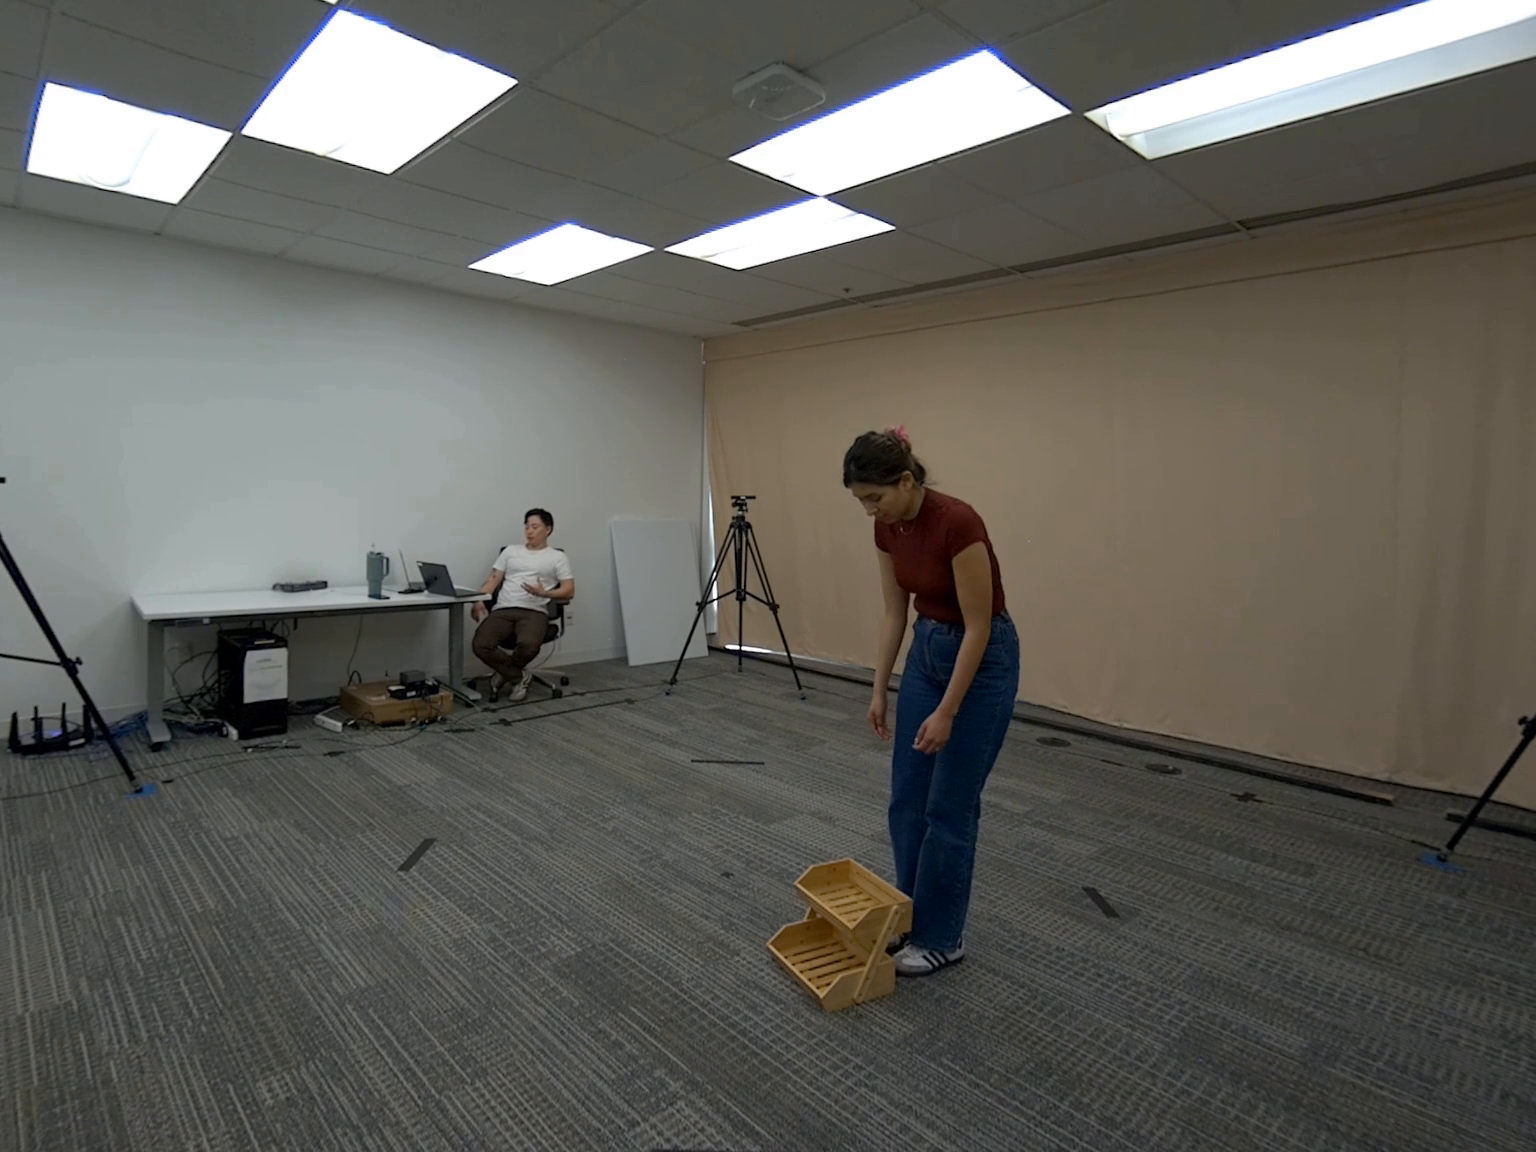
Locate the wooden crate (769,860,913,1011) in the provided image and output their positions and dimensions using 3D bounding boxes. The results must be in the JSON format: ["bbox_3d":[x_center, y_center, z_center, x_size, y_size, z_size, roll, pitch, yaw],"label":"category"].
[{"bbox_3d":[0.197,1.032,2.466,0.296,0.272,0.332,0,5,-29],"label":"wooden crate"}]
